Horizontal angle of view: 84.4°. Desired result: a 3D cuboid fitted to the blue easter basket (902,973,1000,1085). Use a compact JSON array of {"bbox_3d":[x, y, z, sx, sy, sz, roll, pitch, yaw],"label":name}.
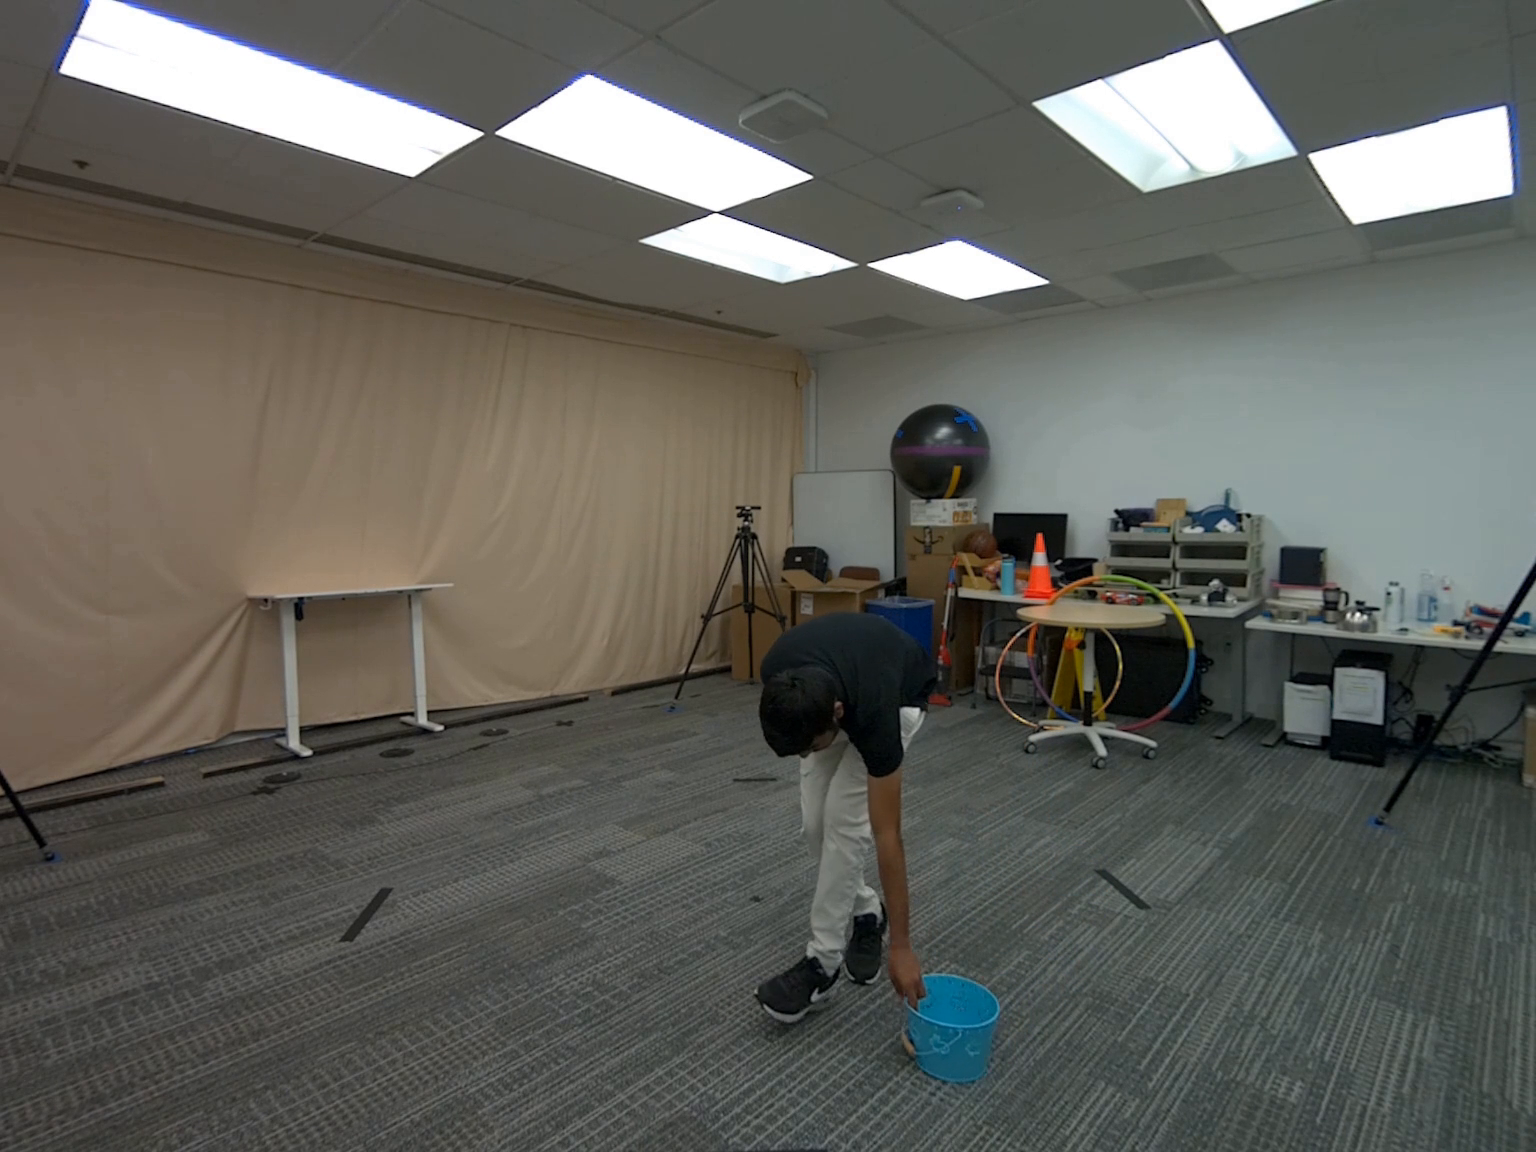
[{"bbox_3d":[0.459,1.139,2.121,0.243,0.155,0.244,0,4,-2],"label":"blue easter basket"}]
